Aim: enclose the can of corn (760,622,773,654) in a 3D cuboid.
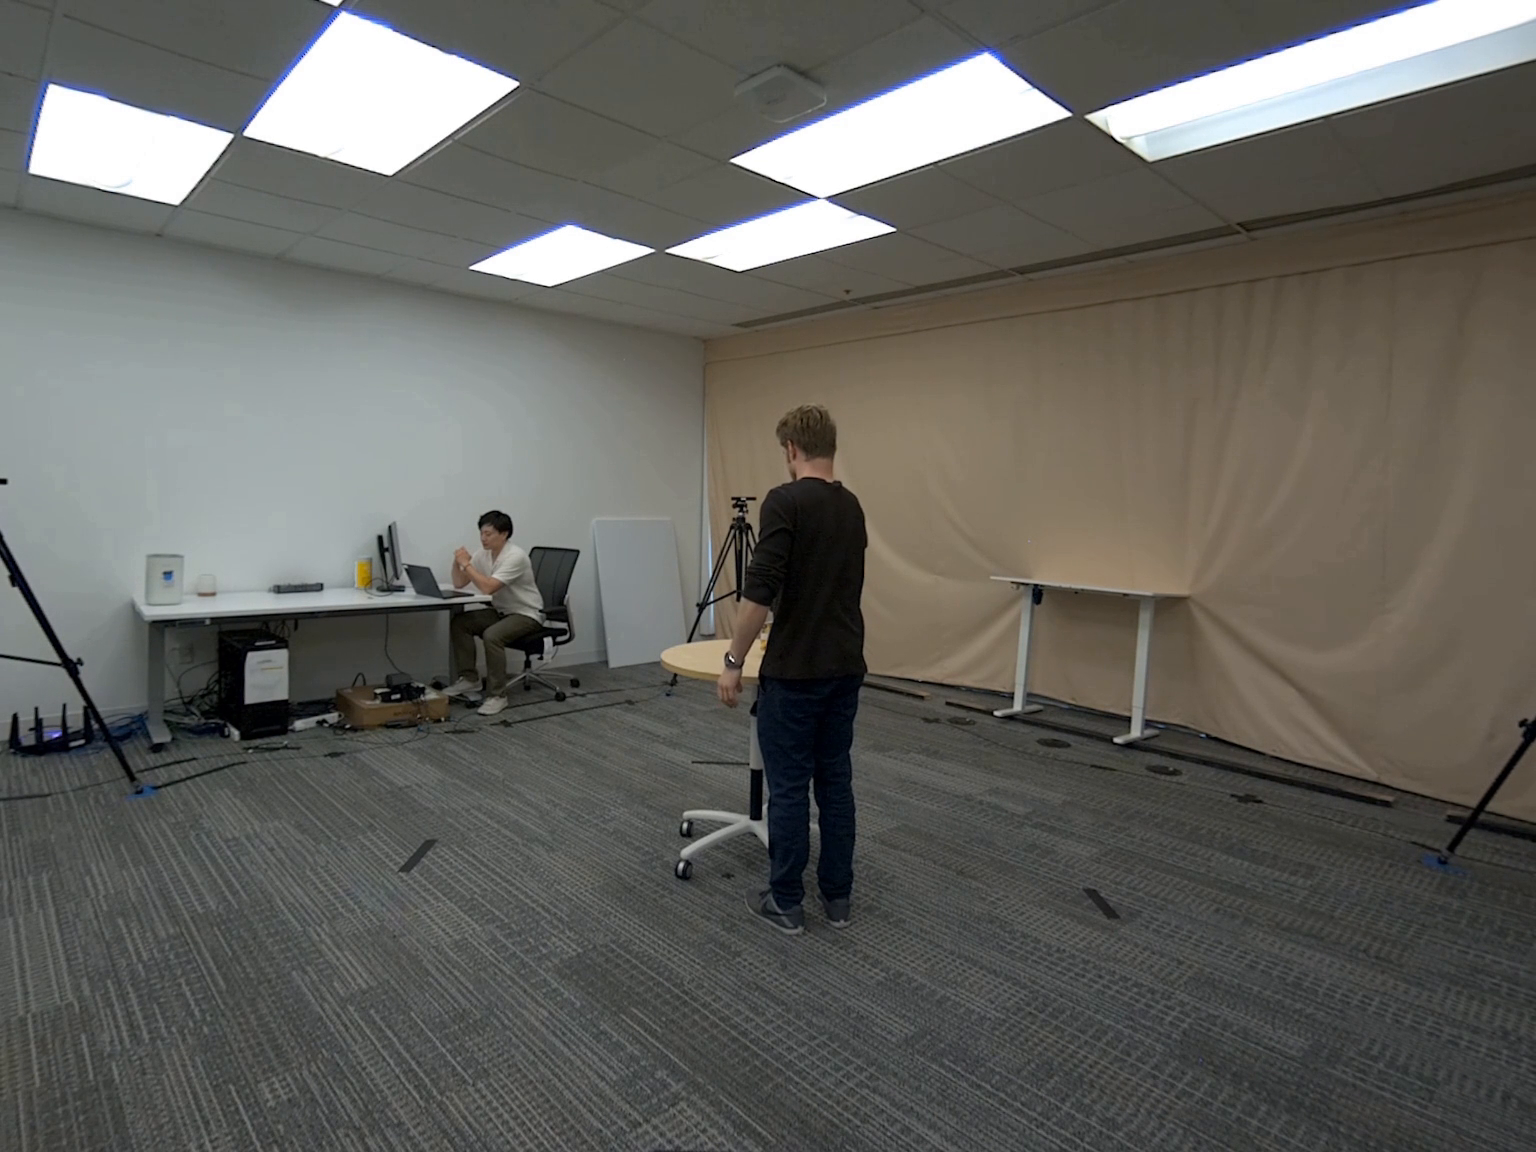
[{"bbox_3d":[0.012,0.237,3.258,0.074,0.111,0.074,4,0,-1],"label":"can of corn"}]
